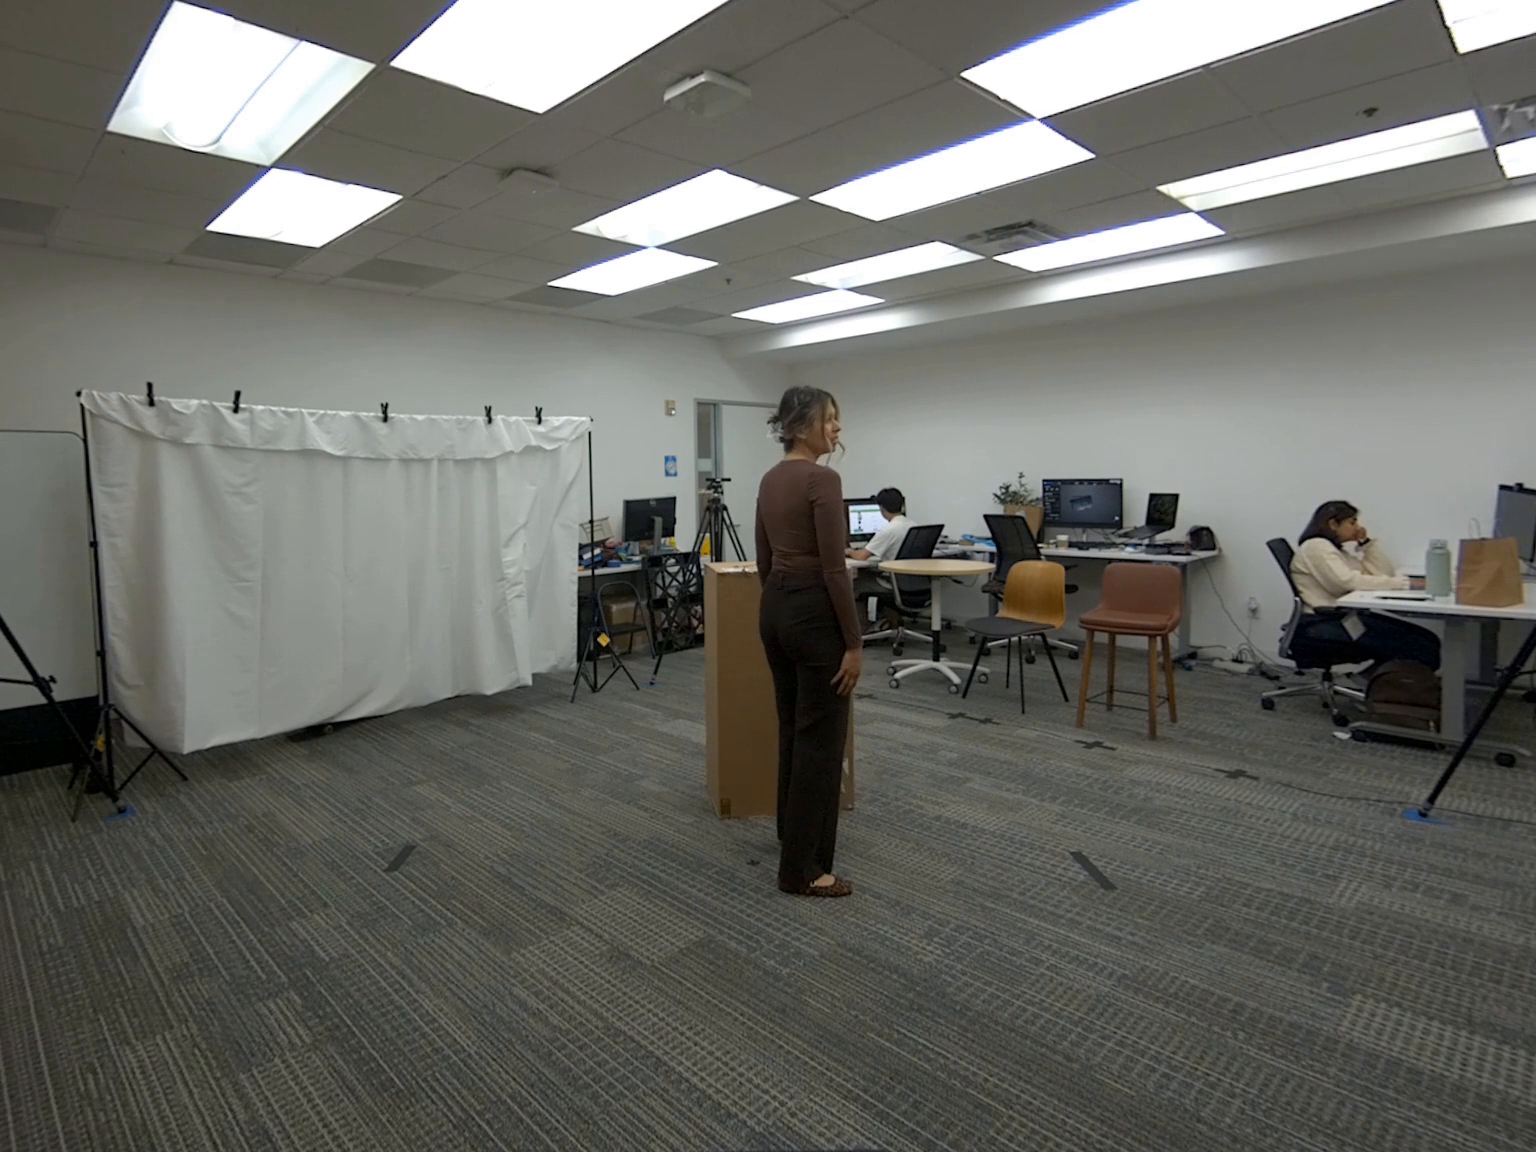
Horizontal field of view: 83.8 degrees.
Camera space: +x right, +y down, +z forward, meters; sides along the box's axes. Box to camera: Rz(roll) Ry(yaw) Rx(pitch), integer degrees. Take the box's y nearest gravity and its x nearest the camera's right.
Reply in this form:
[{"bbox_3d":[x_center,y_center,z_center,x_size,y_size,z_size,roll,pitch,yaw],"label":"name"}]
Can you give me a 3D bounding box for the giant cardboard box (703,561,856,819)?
[{"bbox_3d":[0.036,0.455,3.728,0.579,1.024,0.452,-2,4,-9],"label":"giant cardboard box"}]
